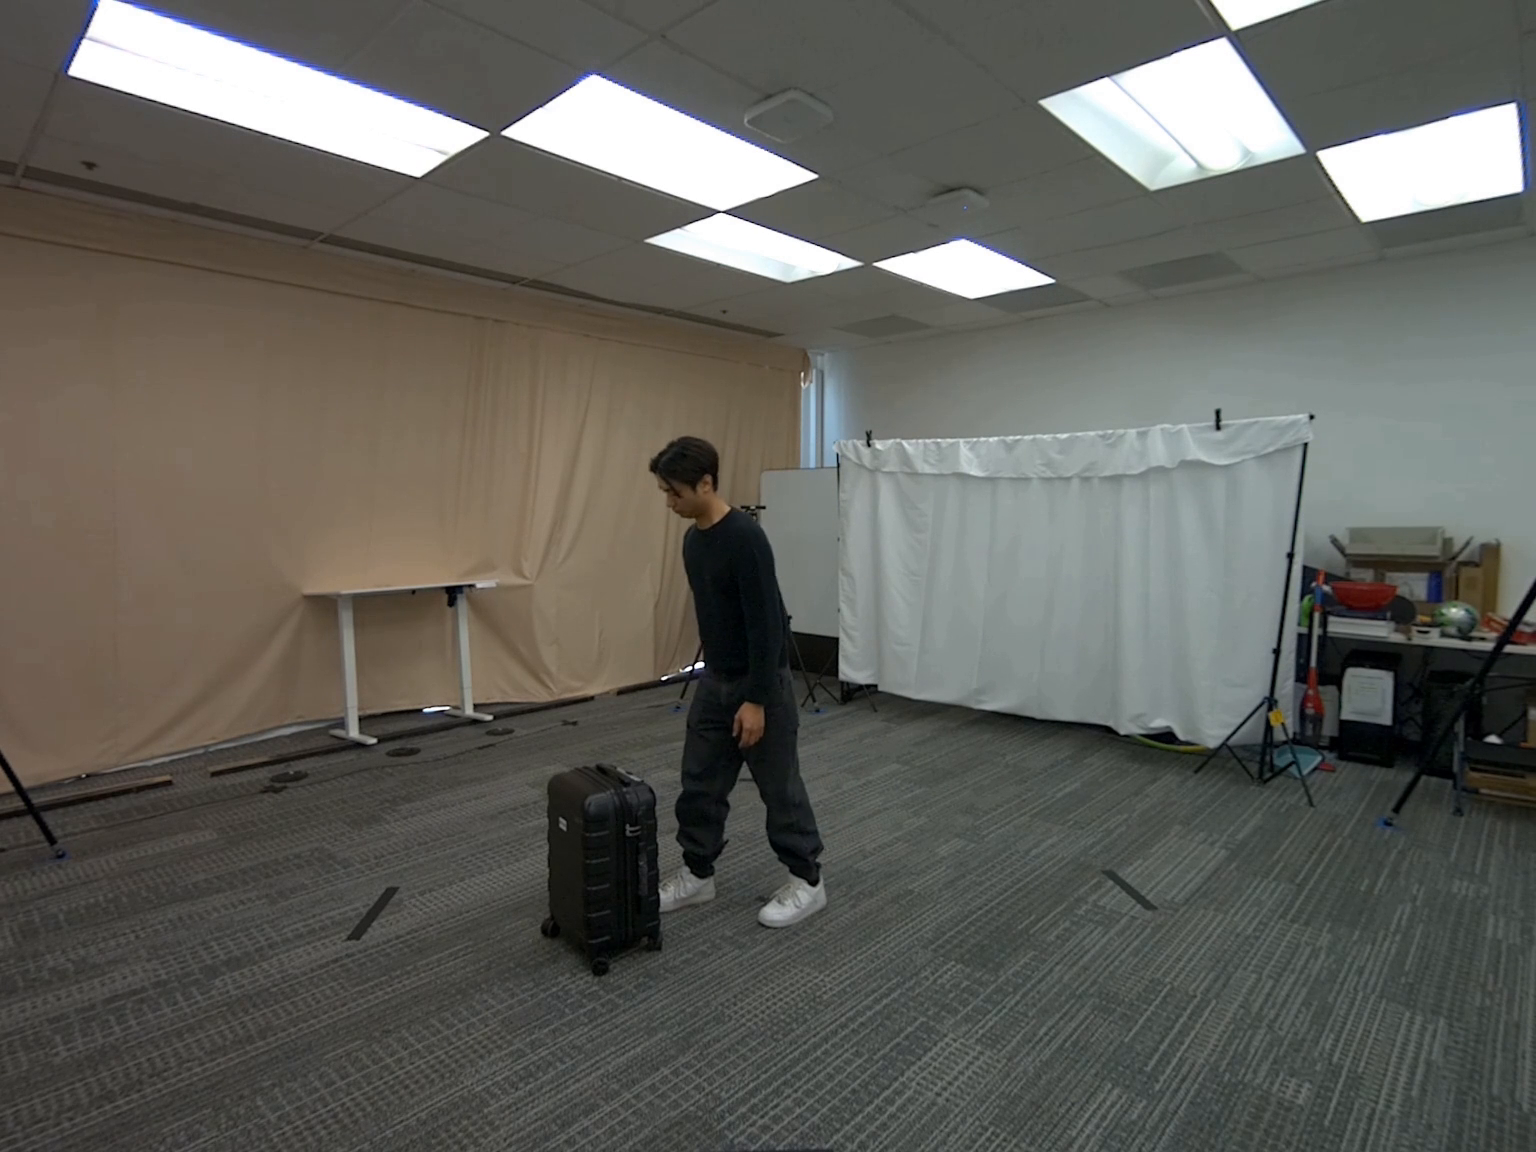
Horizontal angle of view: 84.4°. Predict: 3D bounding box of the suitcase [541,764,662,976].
[{"bbox_3d":[-0.526,0.897,2.673,0.241,0.548,0.387,-3,4,-36],"label":"suitcase"}]
